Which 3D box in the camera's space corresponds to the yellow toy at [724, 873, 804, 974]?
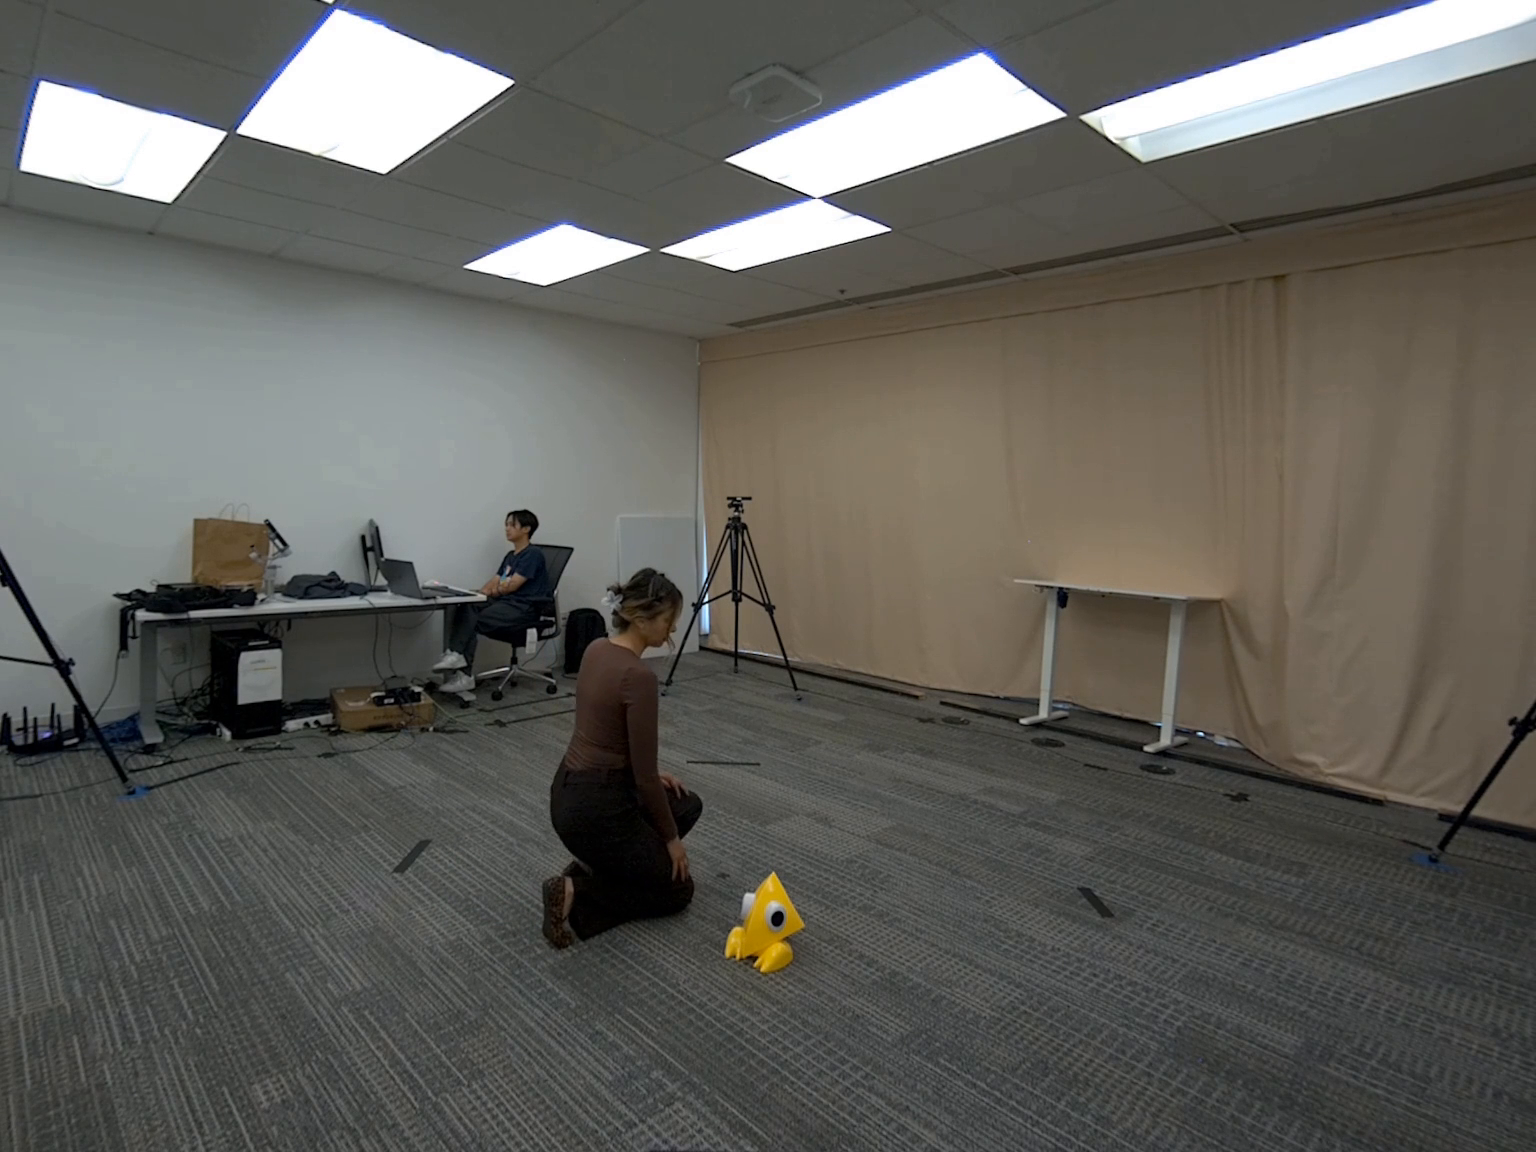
[{"bbox_3d":[-0.026,1.046,2.574,0.210,0.230,0.189,5,4,35],"label":"yellow toy"}]
